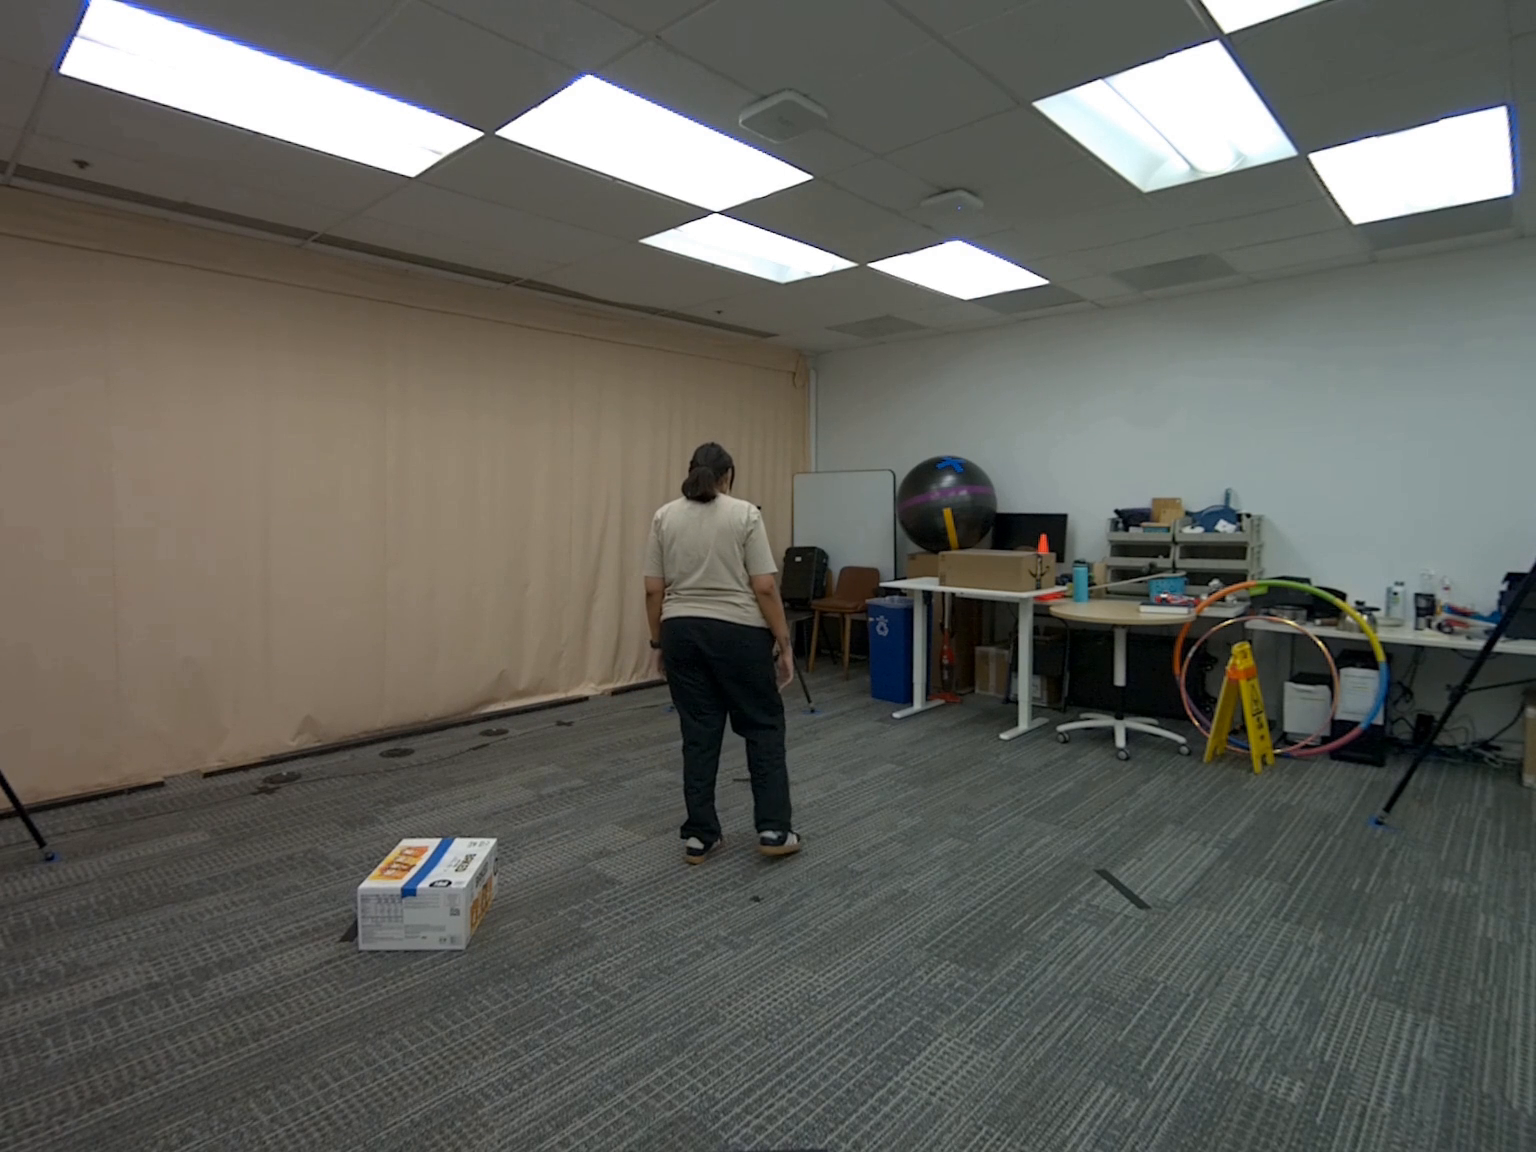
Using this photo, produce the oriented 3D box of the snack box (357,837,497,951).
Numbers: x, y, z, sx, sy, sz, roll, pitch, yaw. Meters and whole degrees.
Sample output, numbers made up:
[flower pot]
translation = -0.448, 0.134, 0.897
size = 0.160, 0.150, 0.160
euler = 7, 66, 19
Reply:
[snack box]
translation = -1.136, 1.071, 2.840
size = 0.340, 0.205, 0.406
euler = -1, 4, -2
